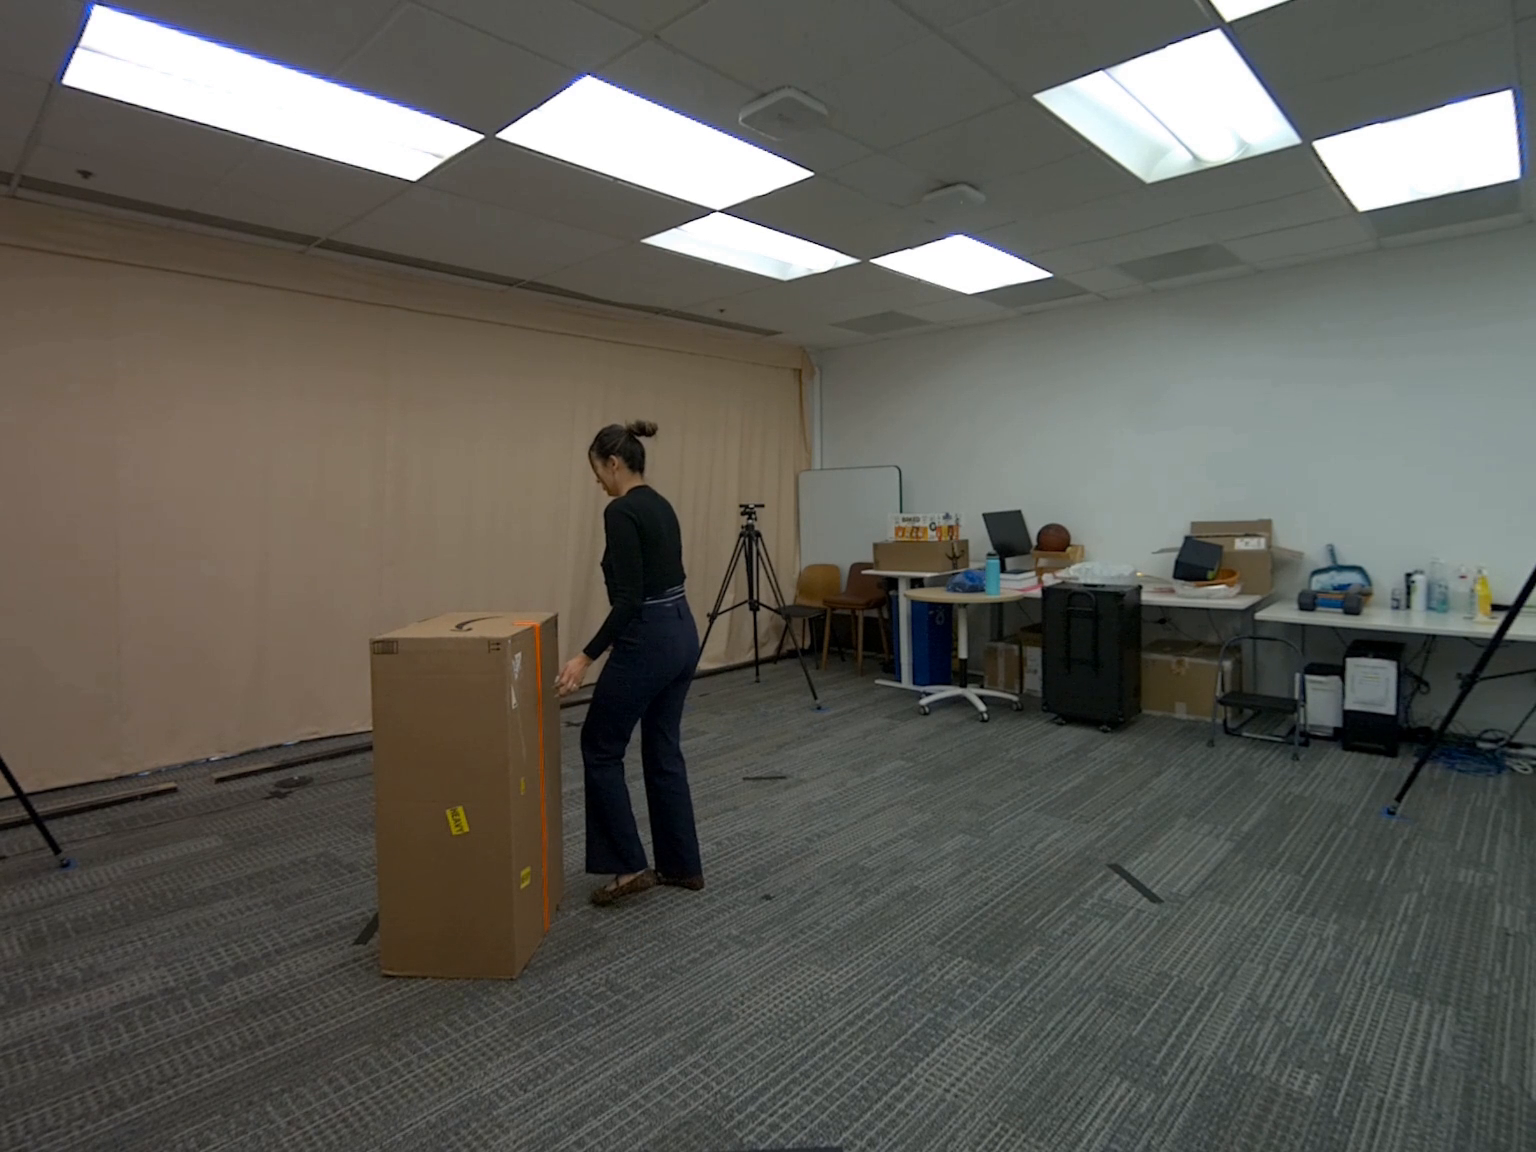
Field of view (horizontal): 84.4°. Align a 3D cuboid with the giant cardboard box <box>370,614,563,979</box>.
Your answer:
[{"bbox_3d":[-0.957,0.667,2.765,0.428,1.024,0.576,0,3,2],"label":"giant cardboard box"}]
